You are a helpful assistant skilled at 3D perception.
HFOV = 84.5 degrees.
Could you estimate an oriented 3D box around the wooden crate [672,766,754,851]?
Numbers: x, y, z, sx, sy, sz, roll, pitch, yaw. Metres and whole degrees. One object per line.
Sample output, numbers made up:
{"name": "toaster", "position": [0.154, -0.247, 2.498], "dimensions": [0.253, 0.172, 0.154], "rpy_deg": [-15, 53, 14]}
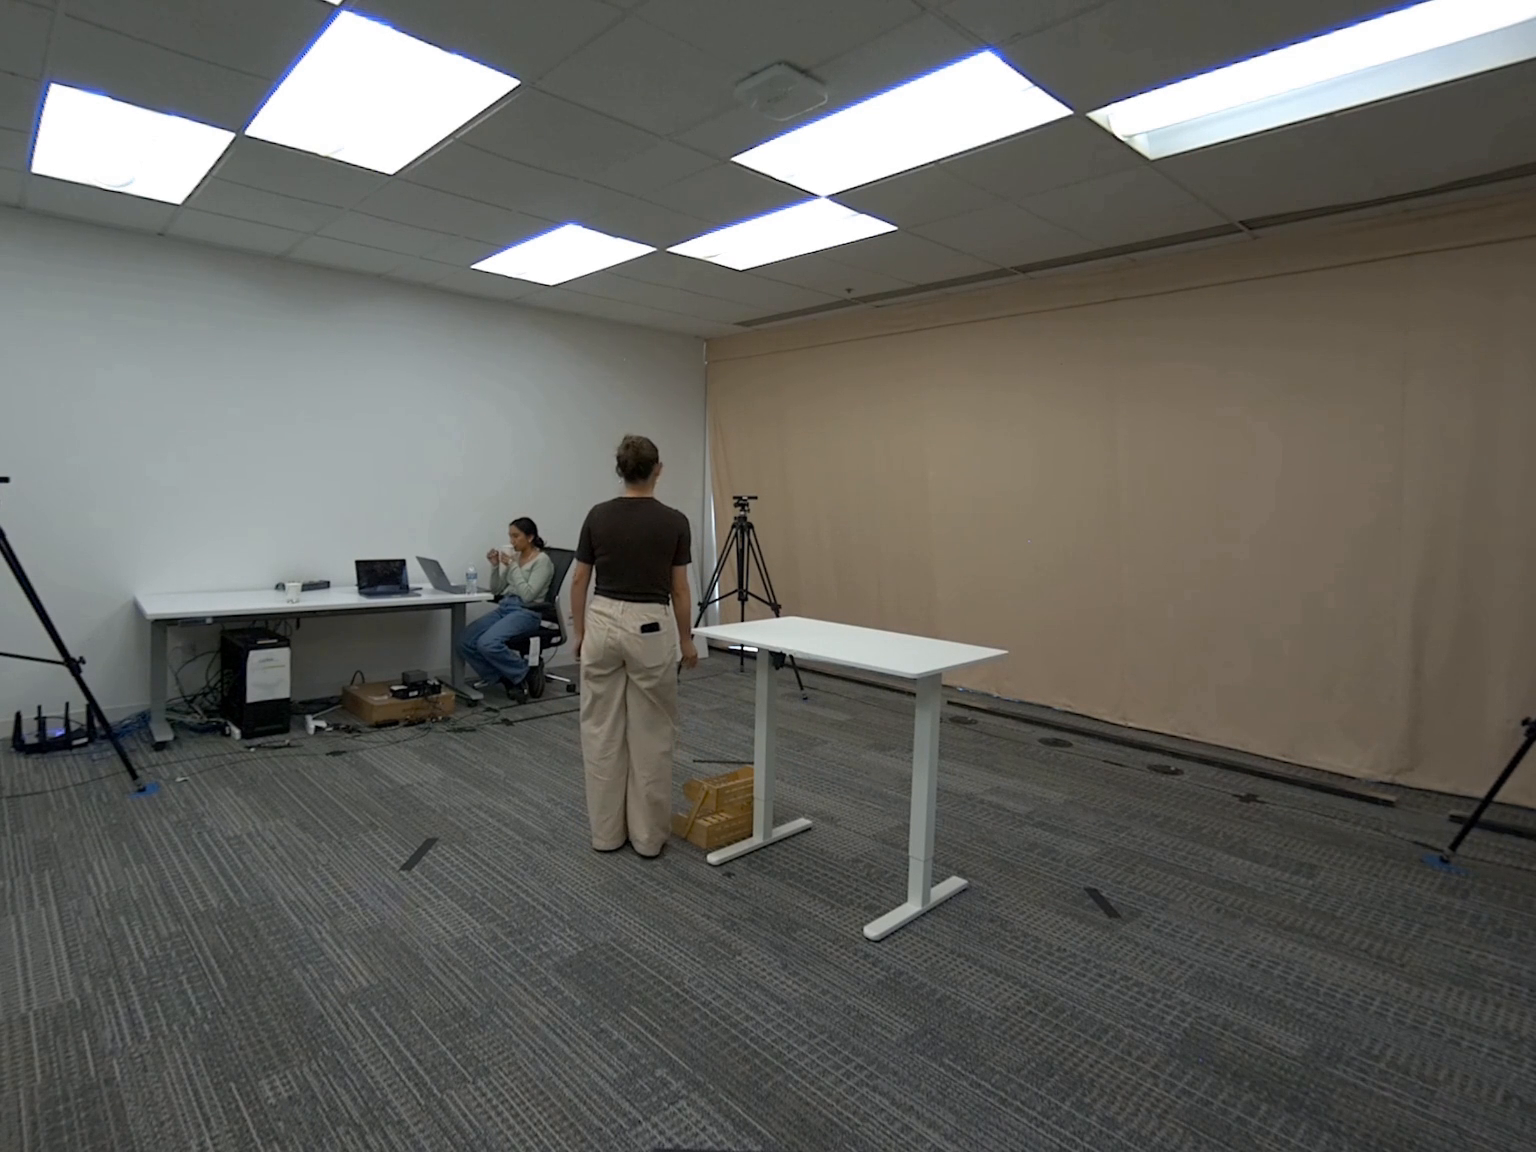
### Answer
{"name": "wooden crate", "position": [-0.213, 0.933, 3.485], "dimensions": [0.317, 0.272, 0.310], "rpy_deg": [-3, 6, -45]}
